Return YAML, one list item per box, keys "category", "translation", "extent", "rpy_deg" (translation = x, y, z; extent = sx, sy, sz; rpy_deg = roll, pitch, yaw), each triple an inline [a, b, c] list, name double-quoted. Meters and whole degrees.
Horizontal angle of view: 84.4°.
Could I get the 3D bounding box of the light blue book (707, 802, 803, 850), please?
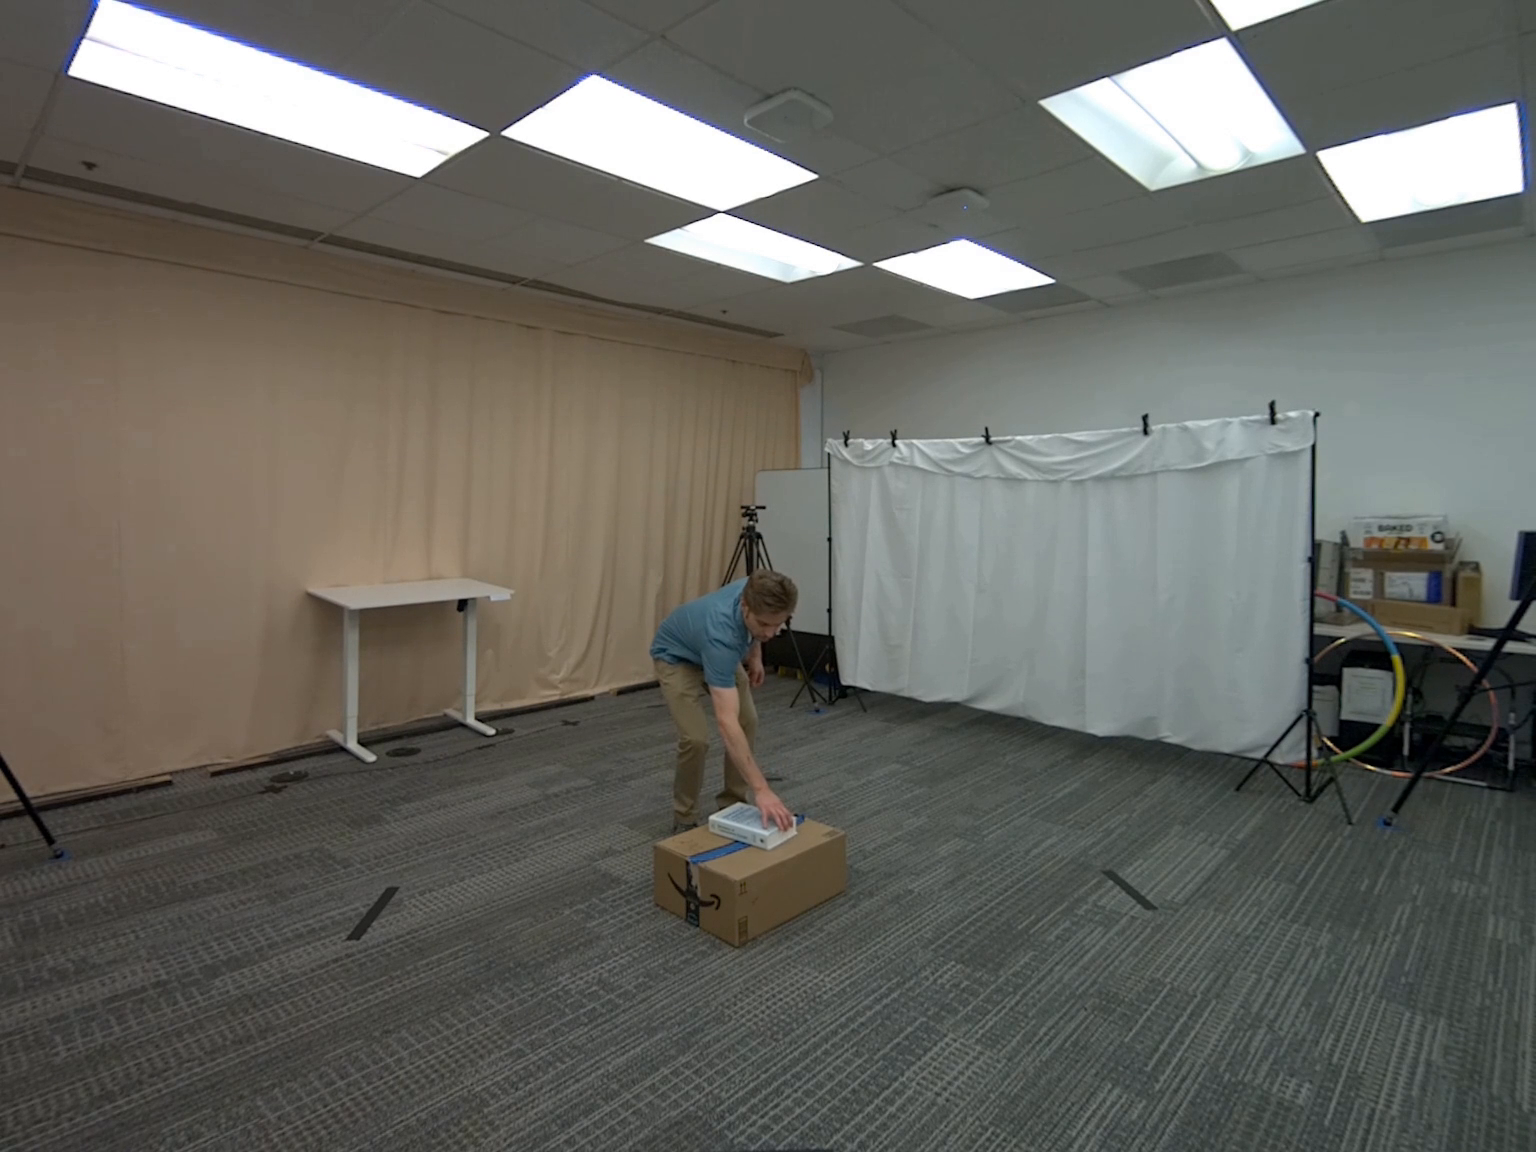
- category: "light blue book"
  translation: [-0.050, 0.899, 3.046]
  extent: [0.269, 0.059, 0.186]
  rpy_deg: [4, 12, 36]
